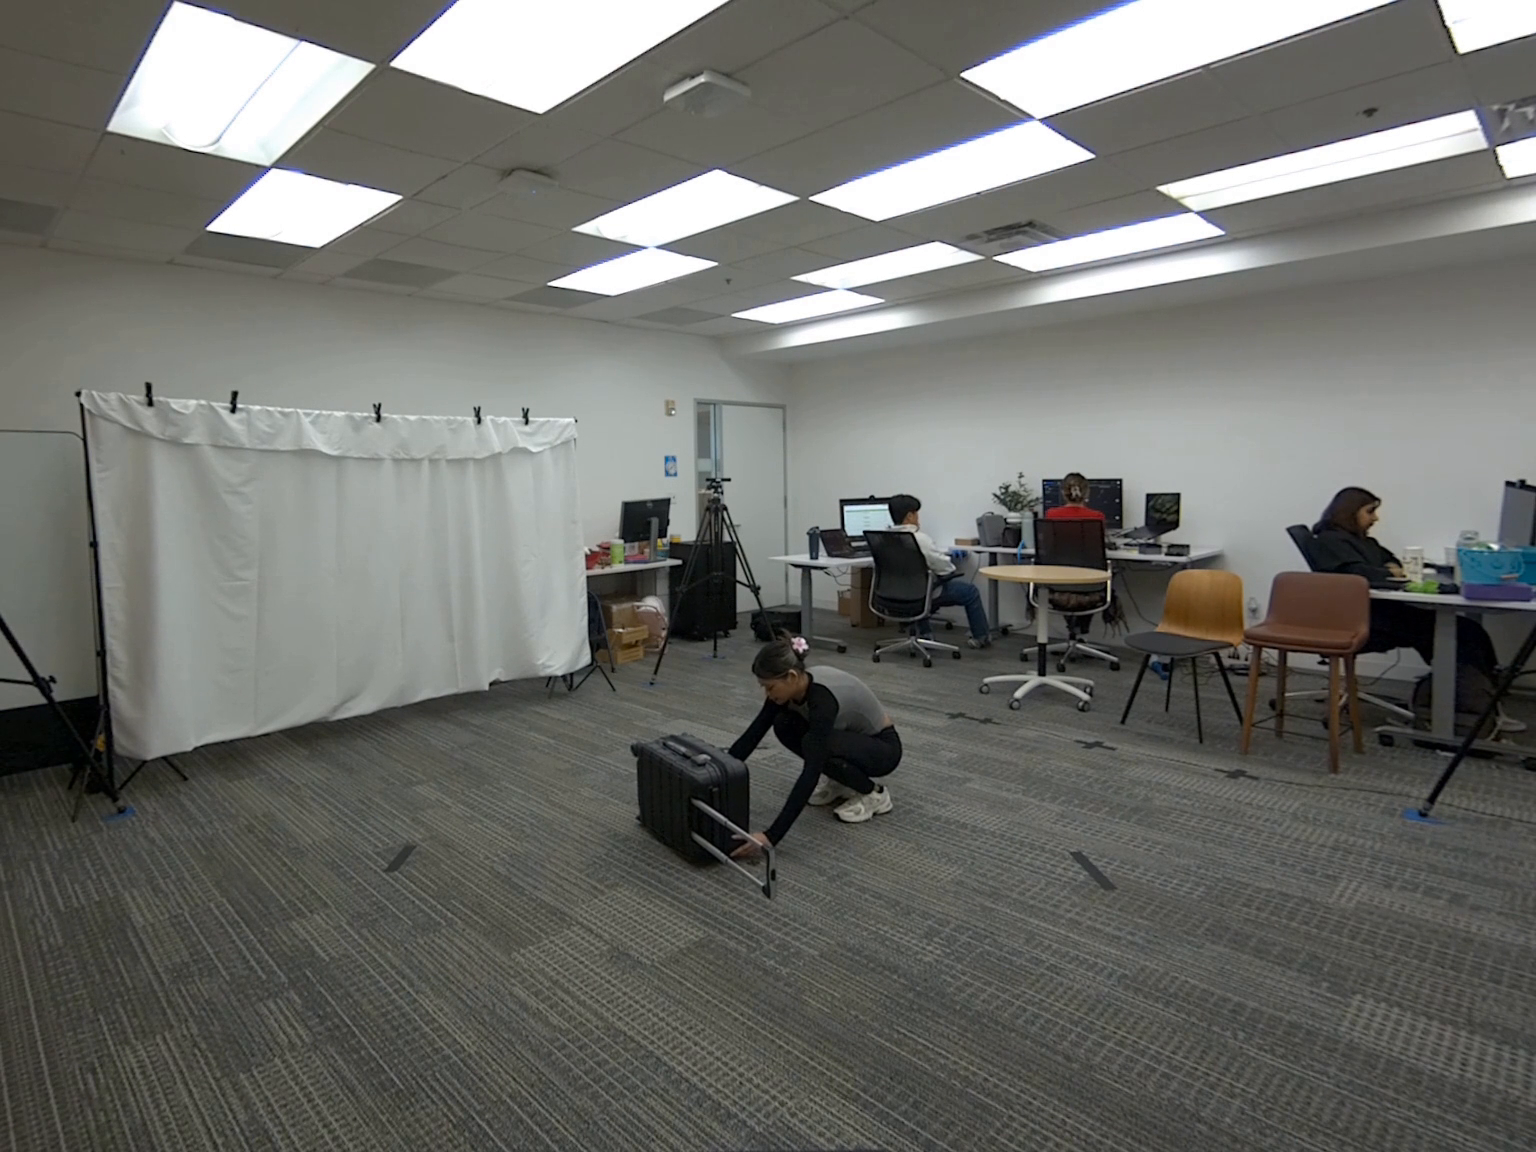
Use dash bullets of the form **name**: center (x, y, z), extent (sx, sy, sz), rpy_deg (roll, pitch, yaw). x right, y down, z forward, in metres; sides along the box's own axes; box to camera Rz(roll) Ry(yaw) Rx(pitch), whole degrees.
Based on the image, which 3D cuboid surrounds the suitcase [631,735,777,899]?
- **suitcase**: center (-0.175, 0.853, 3.107), extent (0.251, 0.382, 1.007), rpy_deg (-4, 7, -34)
